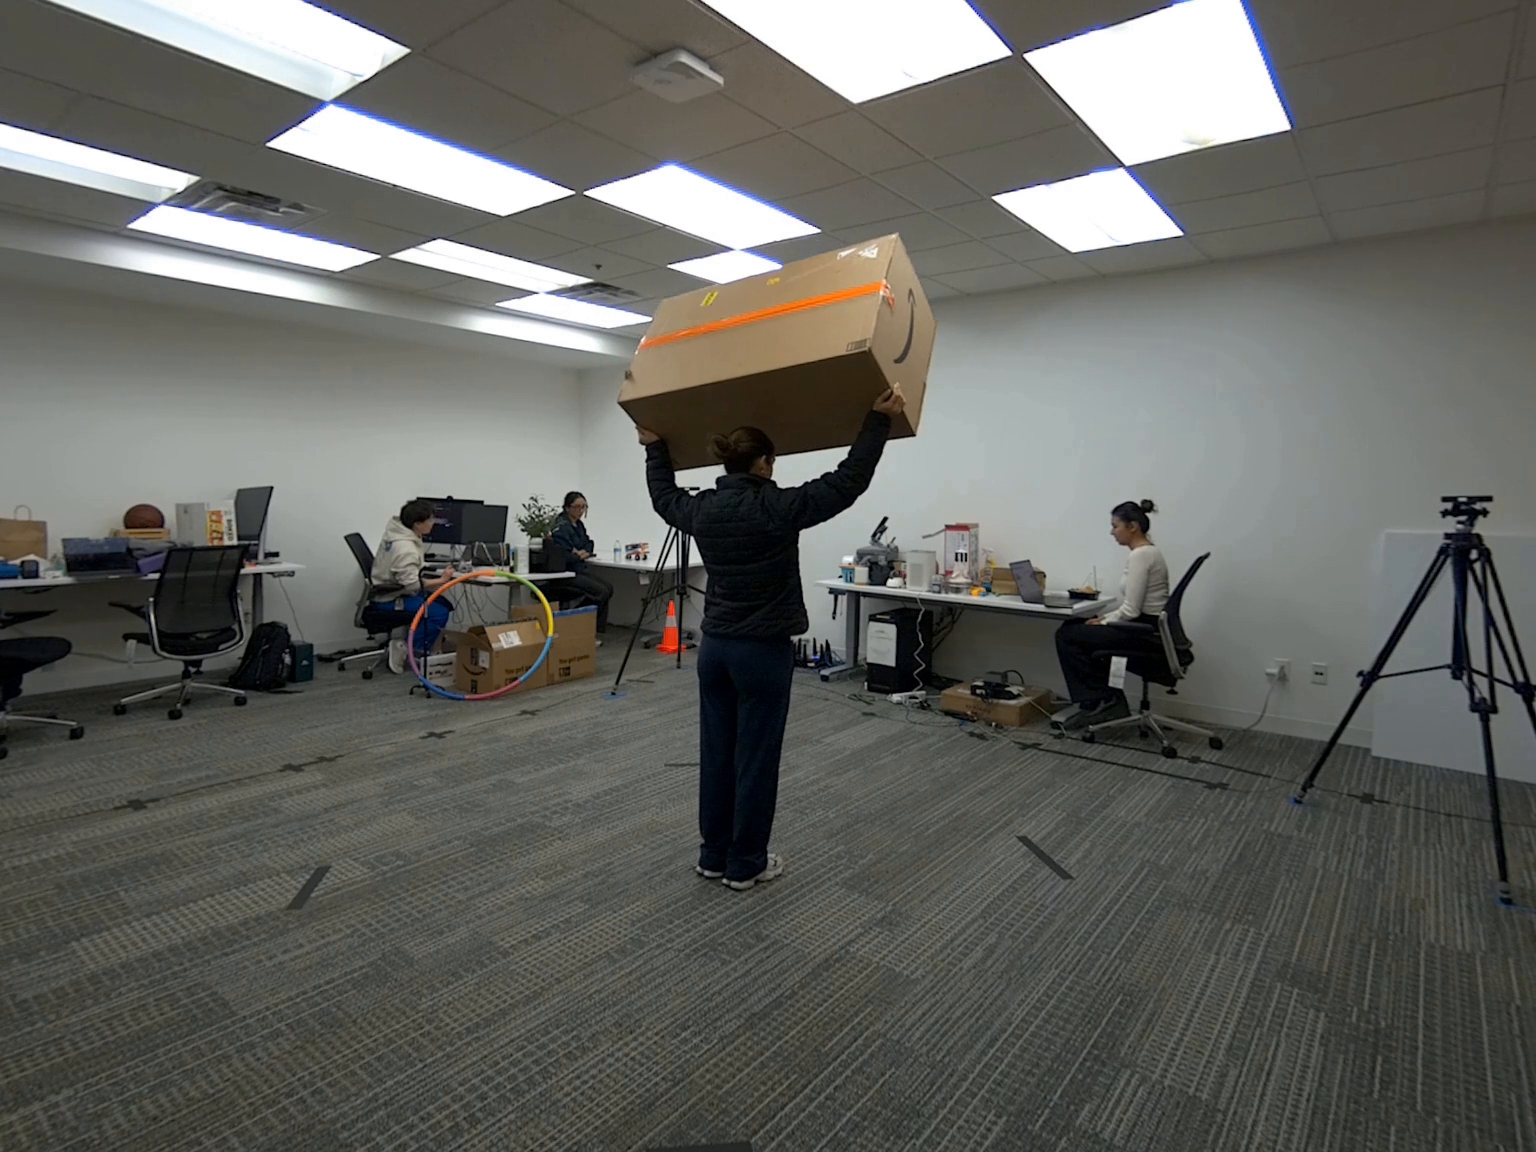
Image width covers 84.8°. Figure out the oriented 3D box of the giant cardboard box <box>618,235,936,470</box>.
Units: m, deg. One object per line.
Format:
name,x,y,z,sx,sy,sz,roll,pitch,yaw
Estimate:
giant cardboard box,0.049,-0.790,3.183,1.055,0.593,0.428,-4,-35,32
